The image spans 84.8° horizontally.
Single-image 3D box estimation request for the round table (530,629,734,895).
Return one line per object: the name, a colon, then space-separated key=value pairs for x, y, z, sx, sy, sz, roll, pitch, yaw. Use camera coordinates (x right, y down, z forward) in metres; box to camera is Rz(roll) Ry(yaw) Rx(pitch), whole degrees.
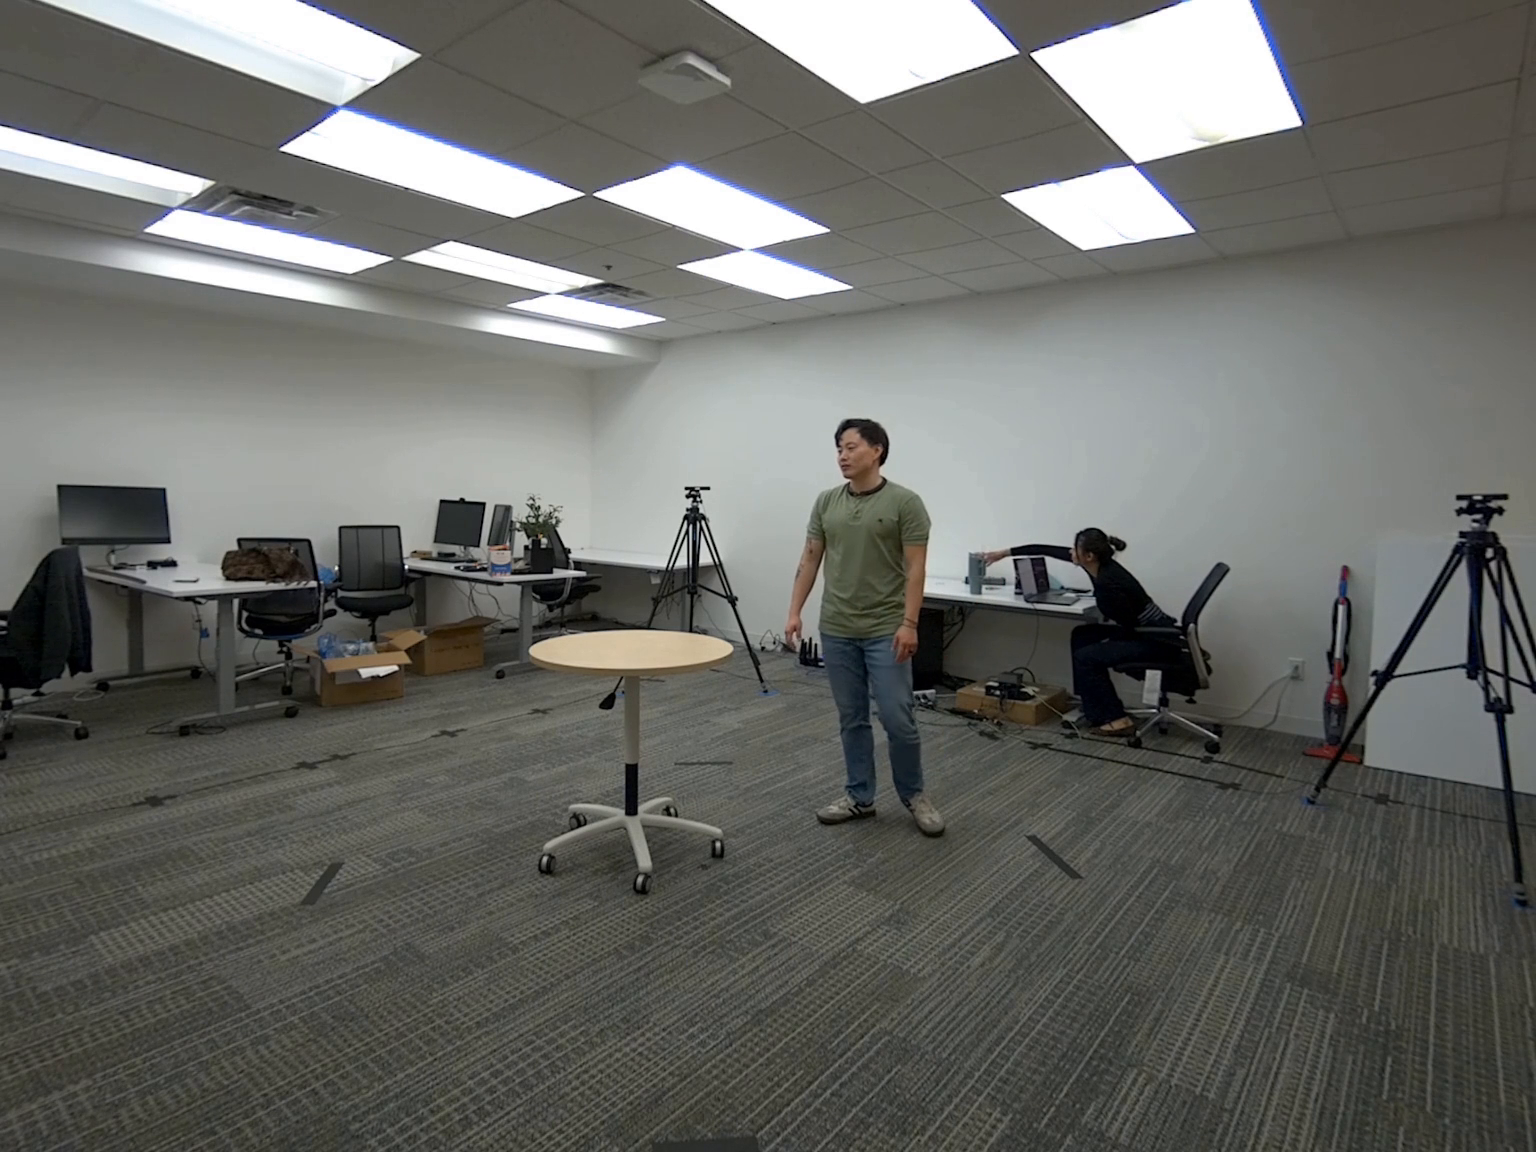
round table: x=-0.530 y=0.661 z=3.232 sx=0.763 sy=0.791 sz=0.768 roll=0 pitch=4 yaw=-2
